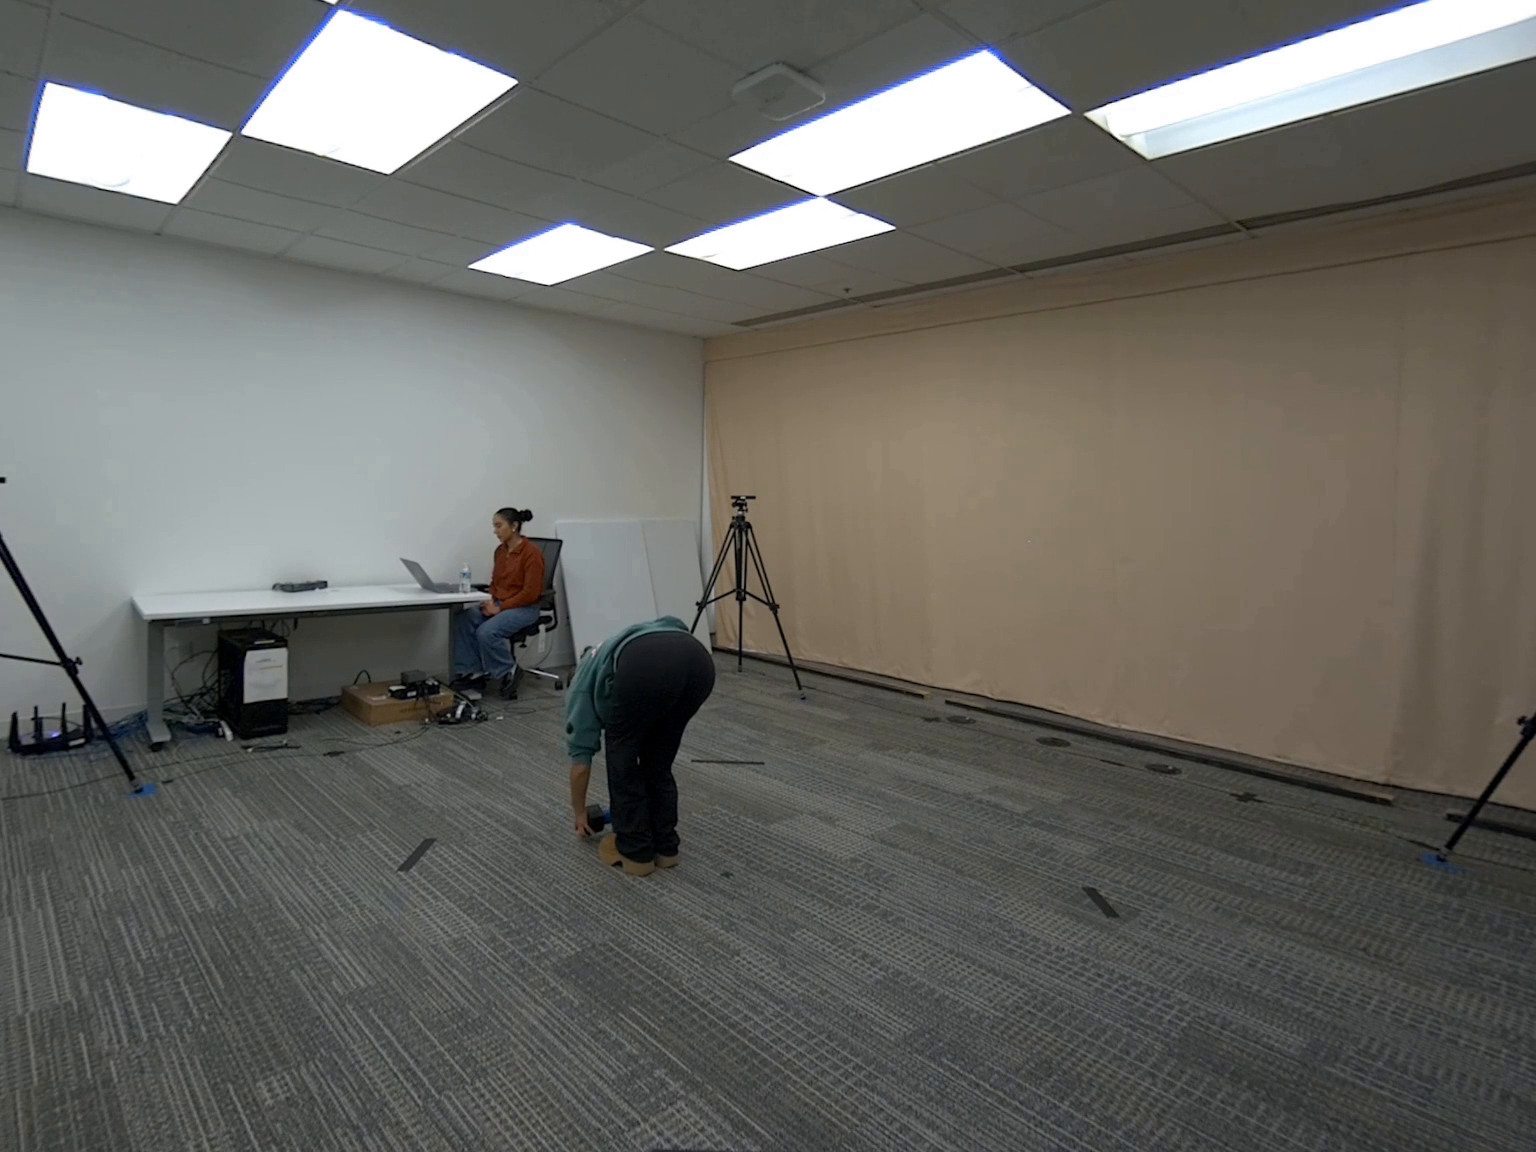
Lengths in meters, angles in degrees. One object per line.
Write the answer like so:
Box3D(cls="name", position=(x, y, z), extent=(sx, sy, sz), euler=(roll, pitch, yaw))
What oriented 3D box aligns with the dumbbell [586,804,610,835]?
Box3D(cls="dumbbell", position=(-0.645, 0.986, 3.442), extent=(0.286, 0.123, 0.111), euler=(0, 5, -41))
